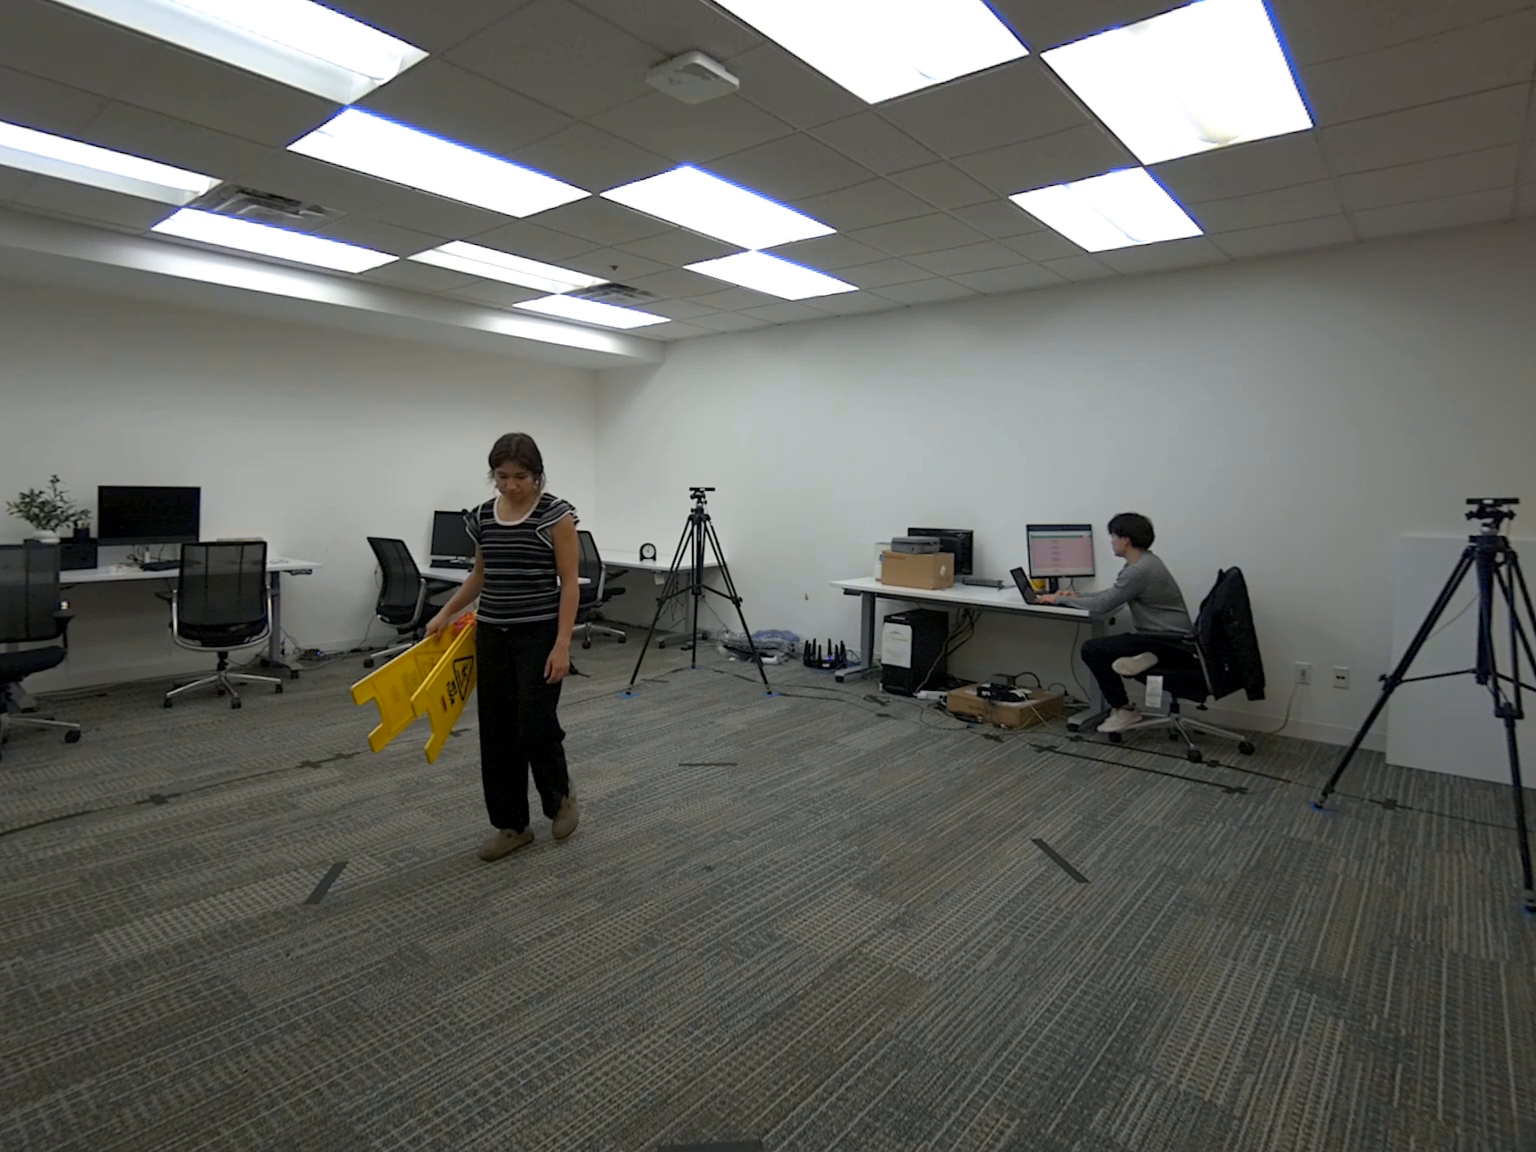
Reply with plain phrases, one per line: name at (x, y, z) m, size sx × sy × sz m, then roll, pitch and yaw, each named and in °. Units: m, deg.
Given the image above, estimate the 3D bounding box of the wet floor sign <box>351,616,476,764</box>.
wet floor sign at (-1.209, 0.354, 3.160) m, size 0.294 × 0.275 × 0.653 m, roll 4°, pitch 31°, yaw 13°
